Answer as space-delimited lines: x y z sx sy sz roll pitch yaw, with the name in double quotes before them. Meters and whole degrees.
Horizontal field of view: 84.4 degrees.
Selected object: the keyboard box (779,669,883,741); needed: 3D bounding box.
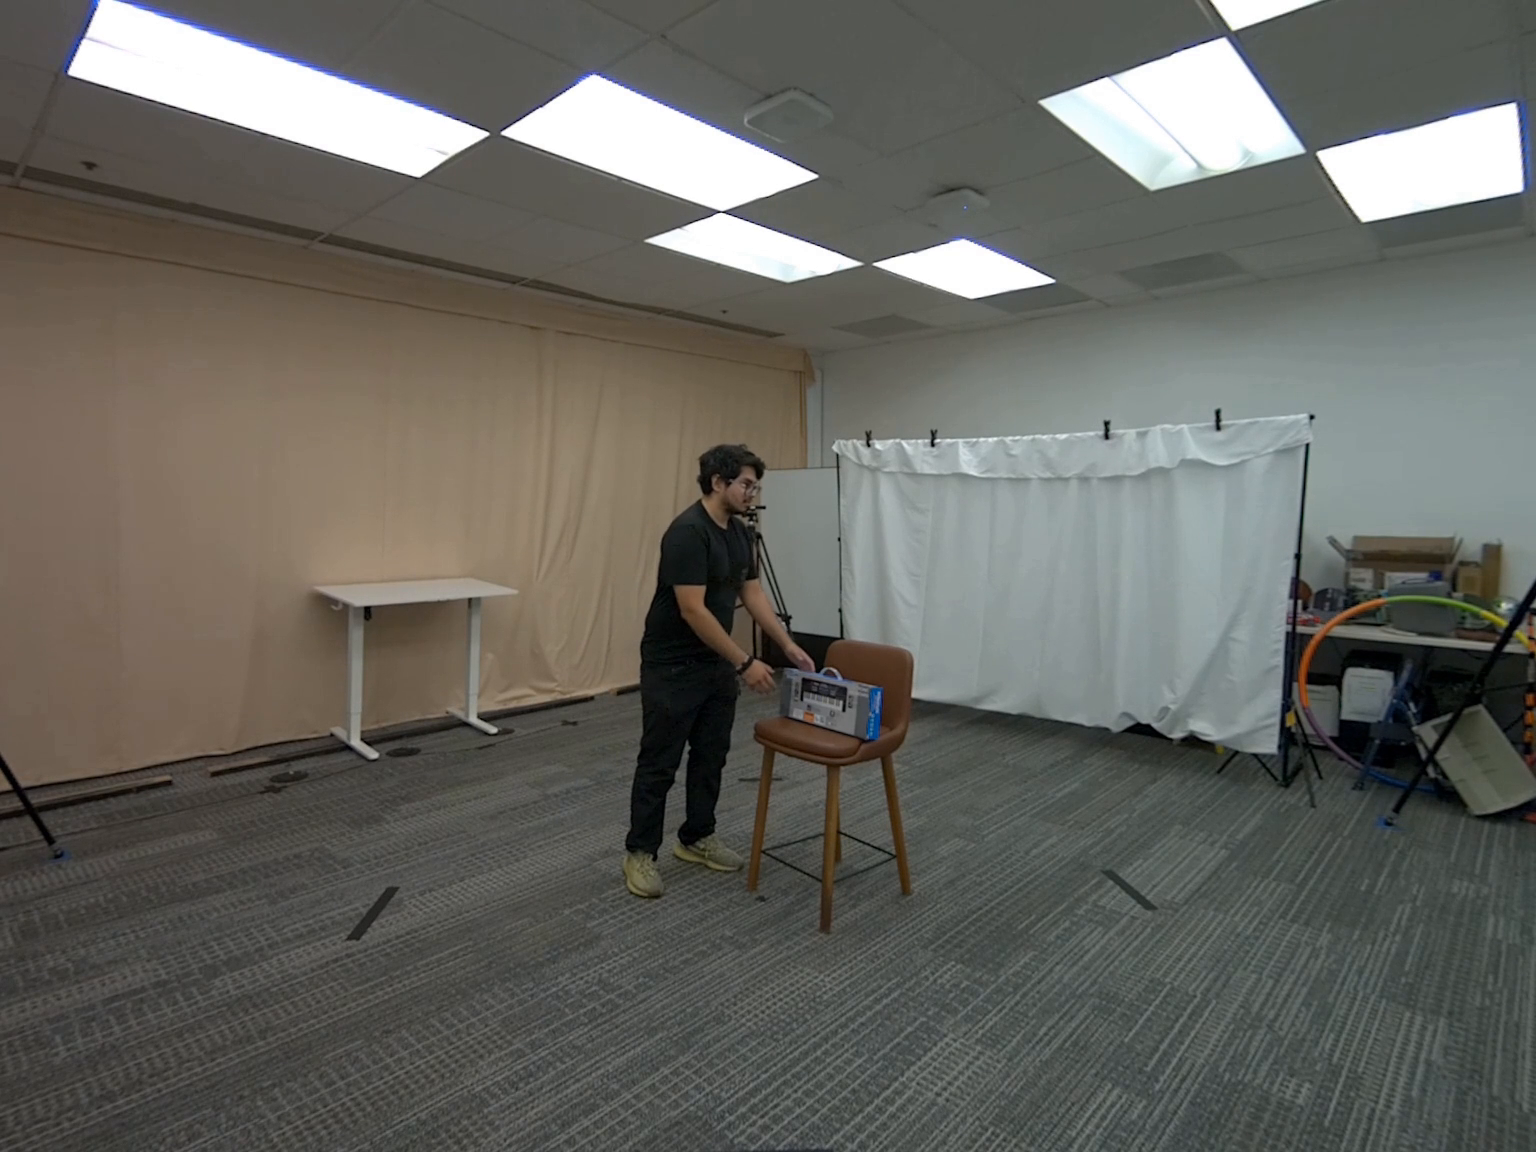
"keyboard box" 0.219 0.443 2.967 0.057 0.176 0.451 6 -1 -40
